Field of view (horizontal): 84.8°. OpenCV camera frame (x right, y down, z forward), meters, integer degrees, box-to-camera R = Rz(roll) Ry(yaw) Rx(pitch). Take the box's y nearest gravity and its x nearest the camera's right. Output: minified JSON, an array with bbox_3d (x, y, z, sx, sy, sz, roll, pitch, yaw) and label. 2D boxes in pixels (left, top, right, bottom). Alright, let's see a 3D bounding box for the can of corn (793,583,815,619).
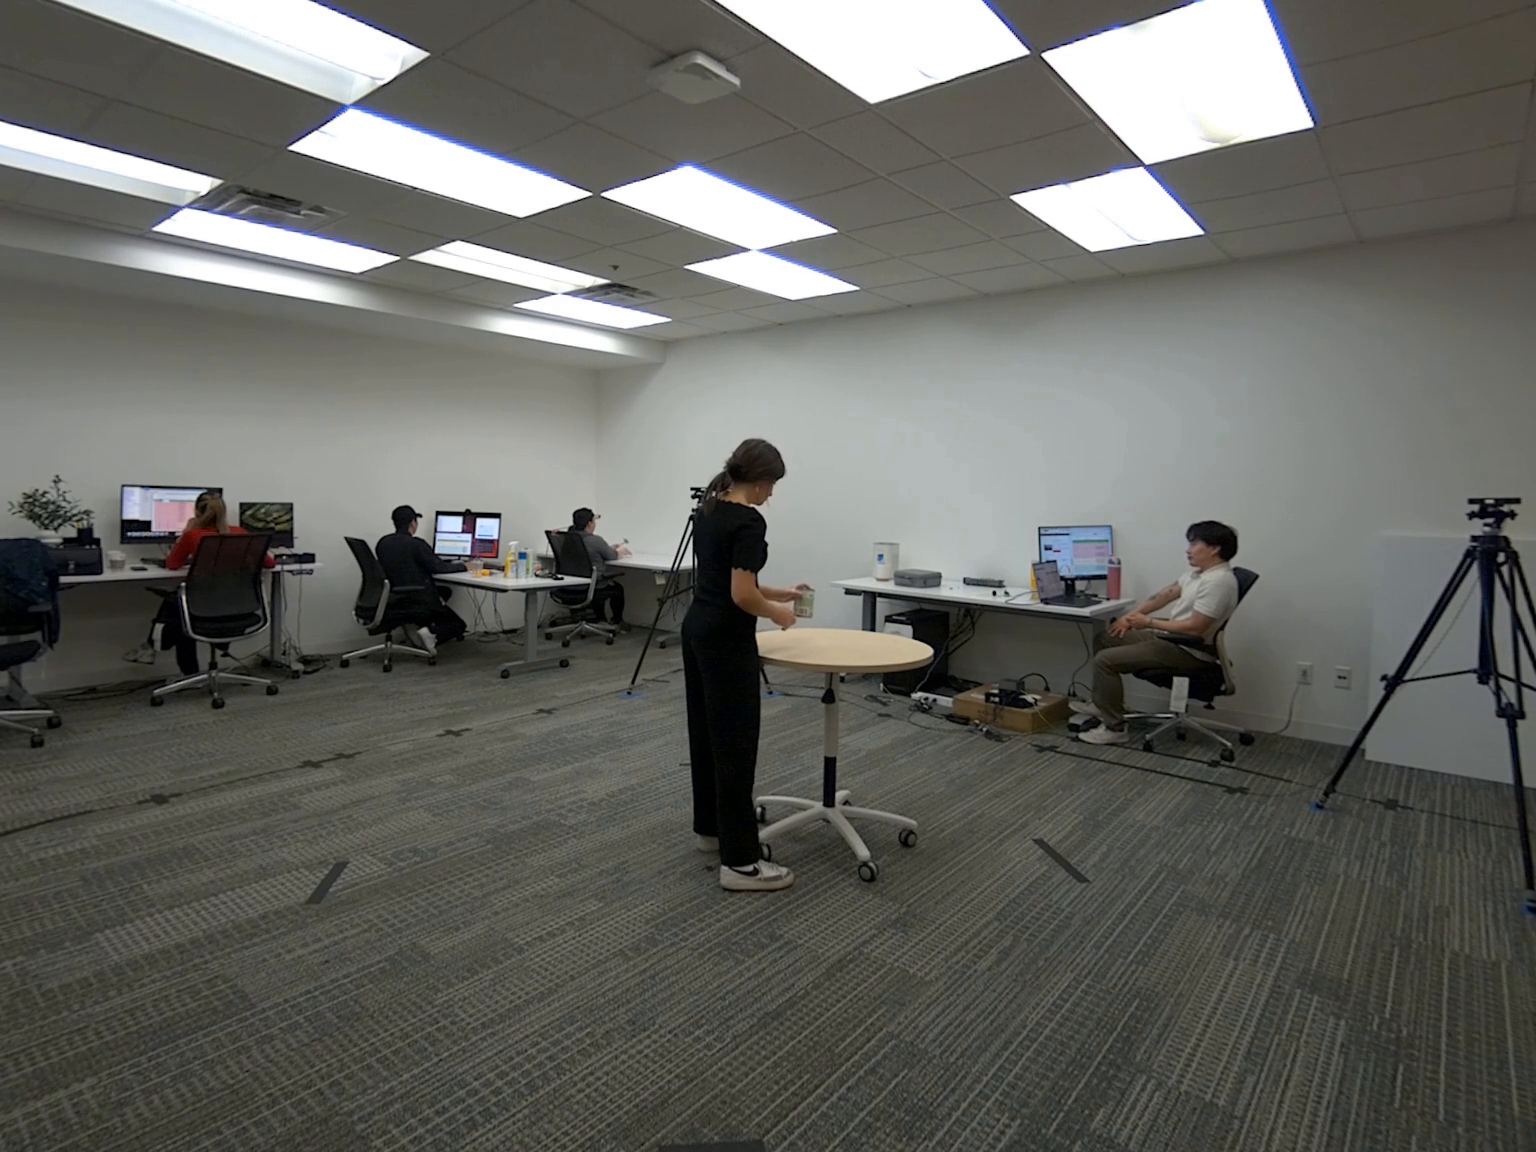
[{"bbox_3d":[0.132,0.104,3.322,0.074,0.111,0.074,4,1,-2],"label":"can of corn"}]
